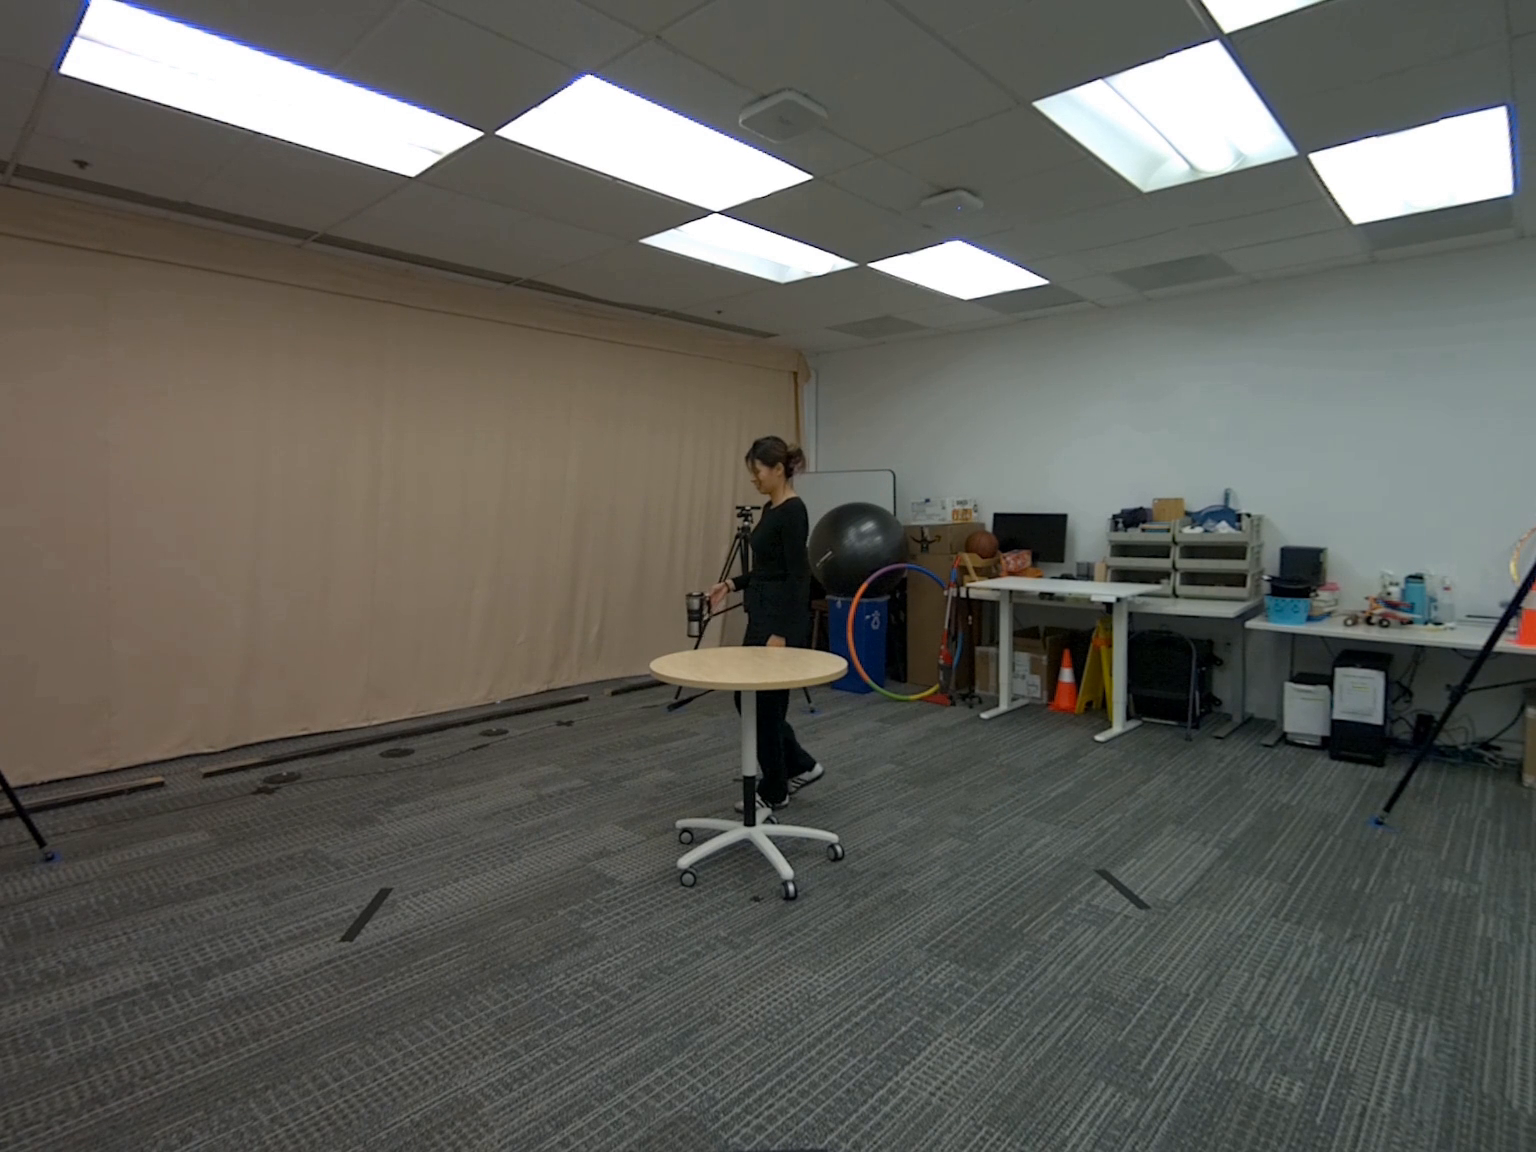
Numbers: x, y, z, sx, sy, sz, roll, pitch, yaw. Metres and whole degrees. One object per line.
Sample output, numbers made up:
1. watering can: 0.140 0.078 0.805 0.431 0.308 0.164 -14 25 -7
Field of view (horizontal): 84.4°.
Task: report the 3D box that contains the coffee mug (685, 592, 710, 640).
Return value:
1. coffee mug: -0.335 0.188 3.880 0.090 0.202 0.119 4 4 20
